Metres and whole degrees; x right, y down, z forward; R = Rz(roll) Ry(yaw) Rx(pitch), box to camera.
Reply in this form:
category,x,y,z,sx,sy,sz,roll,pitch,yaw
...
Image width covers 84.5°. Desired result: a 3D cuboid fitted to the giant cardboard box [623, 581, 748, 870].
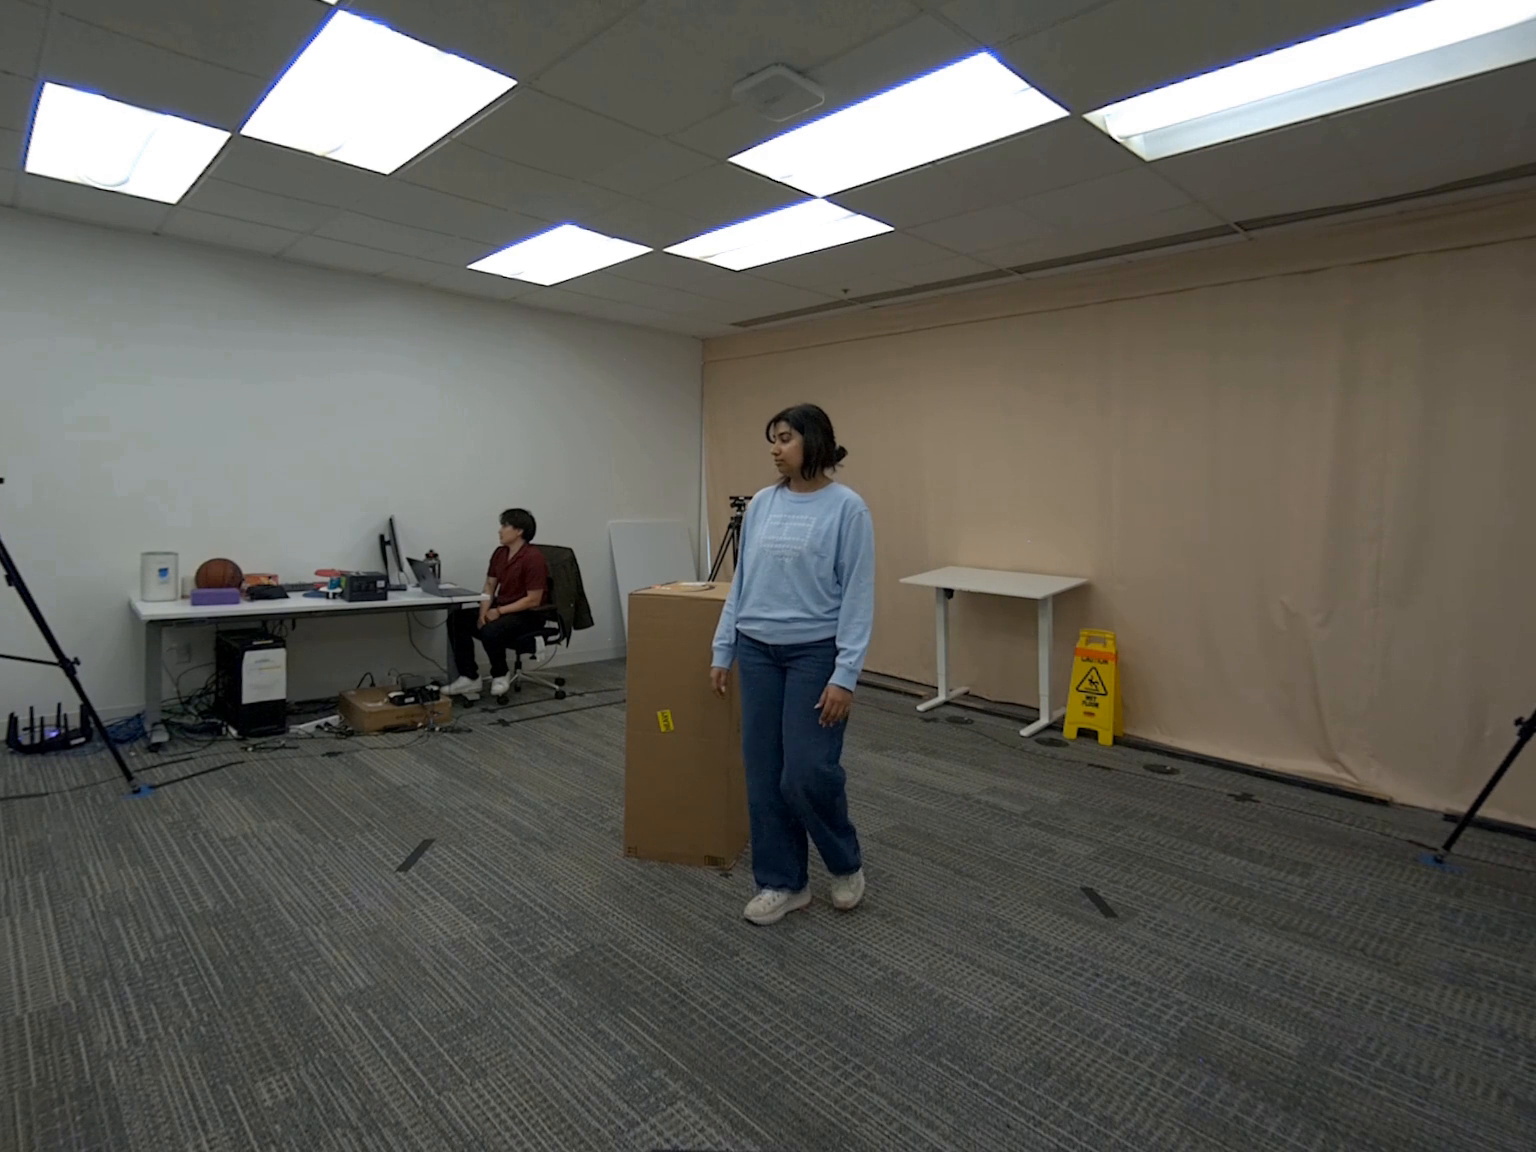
category,x,y,z,sx,sy,sz,roll,pitch,yaw
giant cardboard box,-0.287,0.561,3.444,0.431,1.023,0.572,2,4,13
